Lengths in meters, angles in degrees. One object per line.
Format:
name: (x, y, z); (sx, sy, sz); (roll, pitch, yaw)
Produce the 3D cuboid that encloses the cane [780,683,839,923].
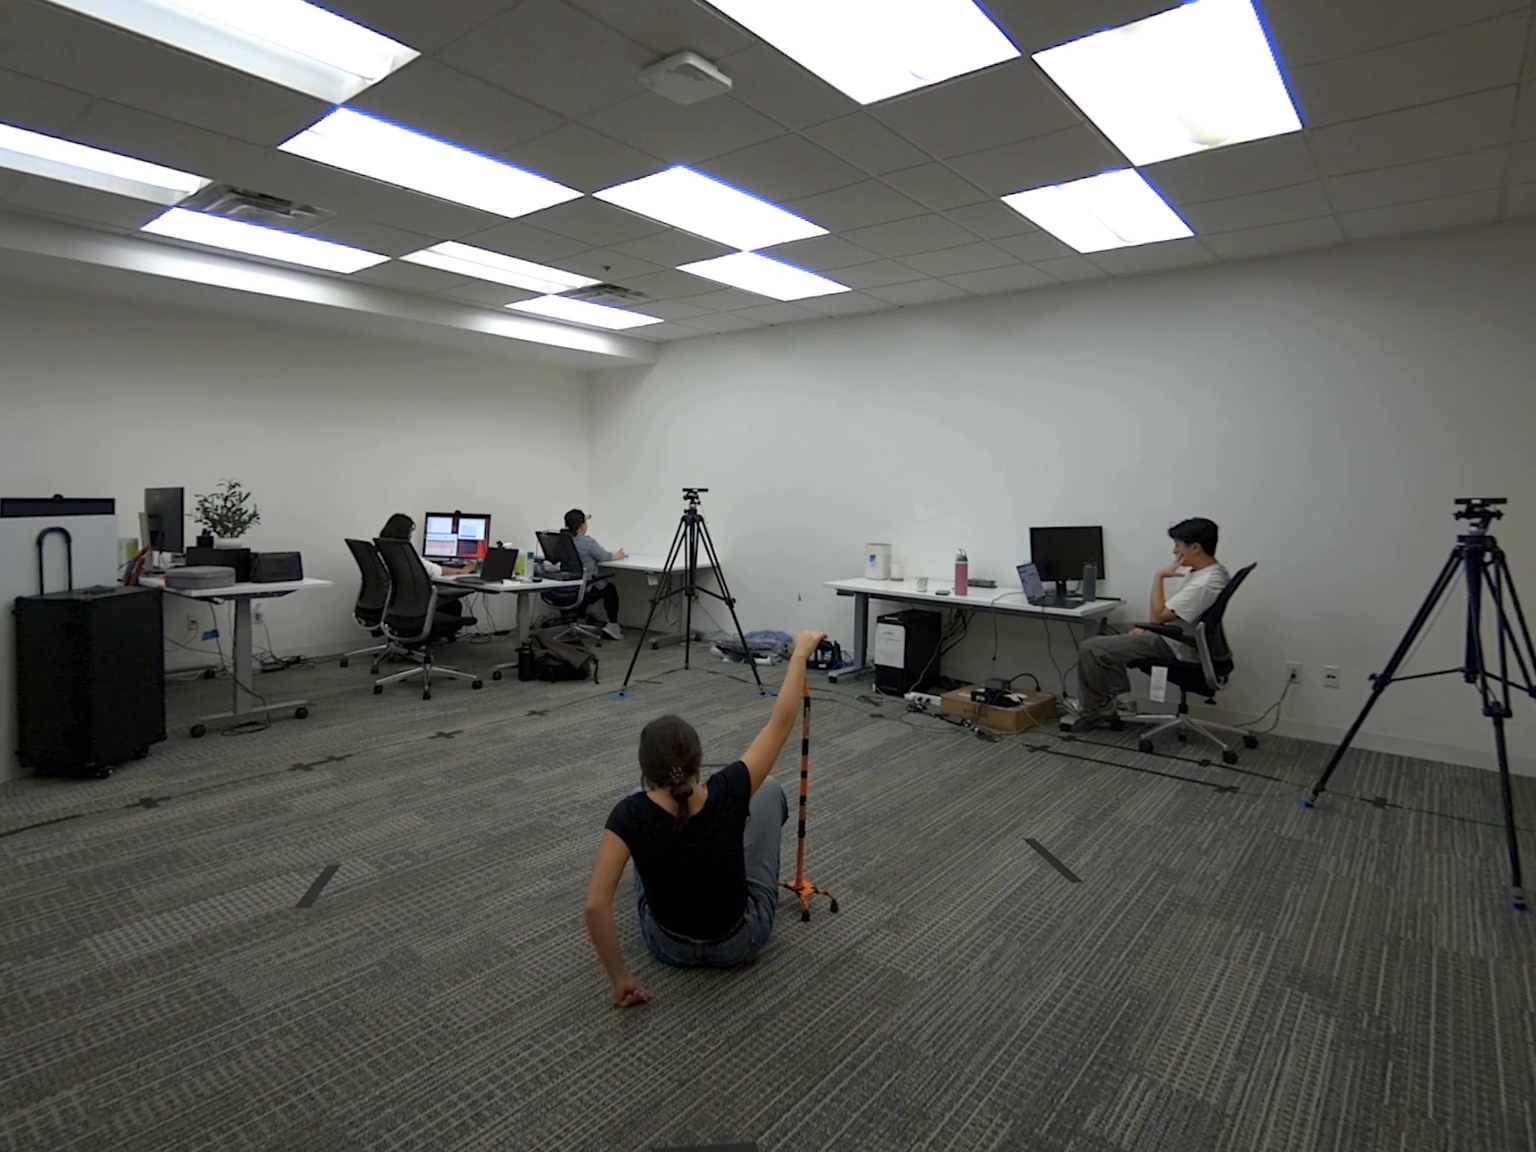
cane: (0.132, 0.642, 2.831); (0.147, 0.905, 0.213); (-2, 4, -36)
